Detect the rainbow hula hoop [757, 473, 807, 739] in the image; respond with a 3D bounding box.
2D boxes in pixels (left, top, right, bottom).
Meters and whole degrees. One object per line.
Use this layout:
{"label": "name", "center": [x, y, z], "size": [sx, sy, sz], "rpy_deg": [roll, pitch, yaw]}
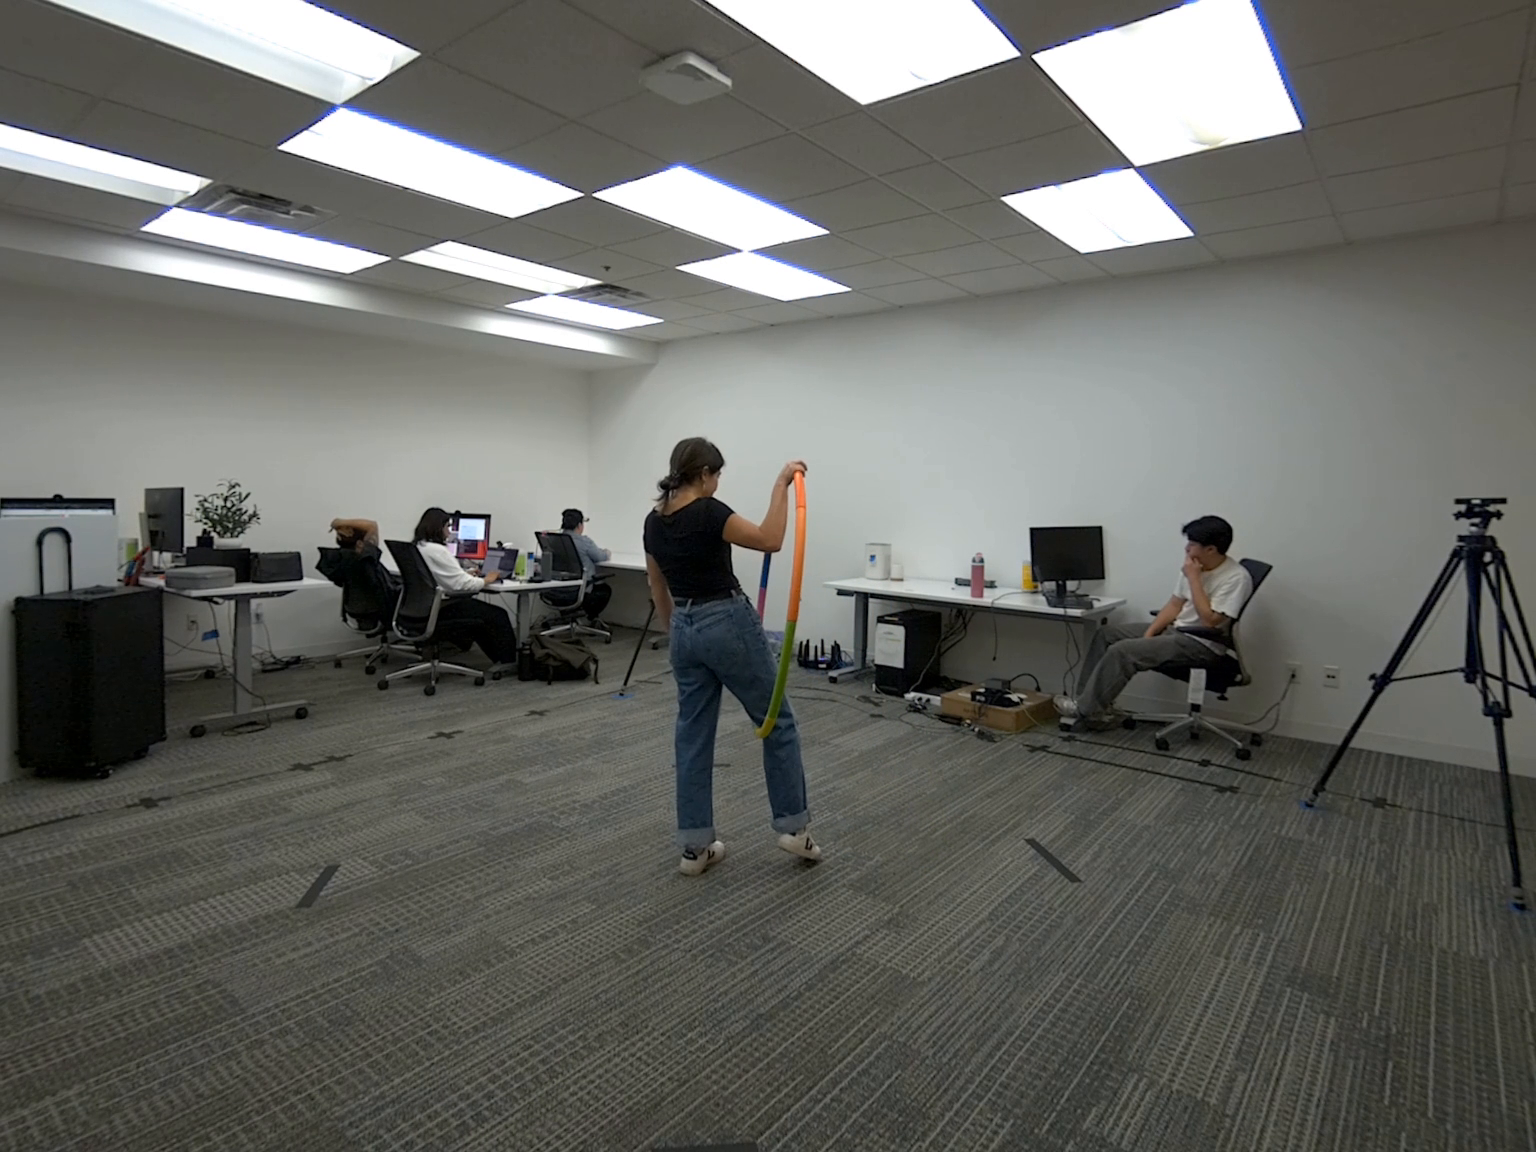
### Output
{"label": "rainbow hula hoop", "center": [0.025, 0.067, 3.130], "size": [0.035, 0.976, 0.986], "rpy_deg": [8, 4, -6]}
